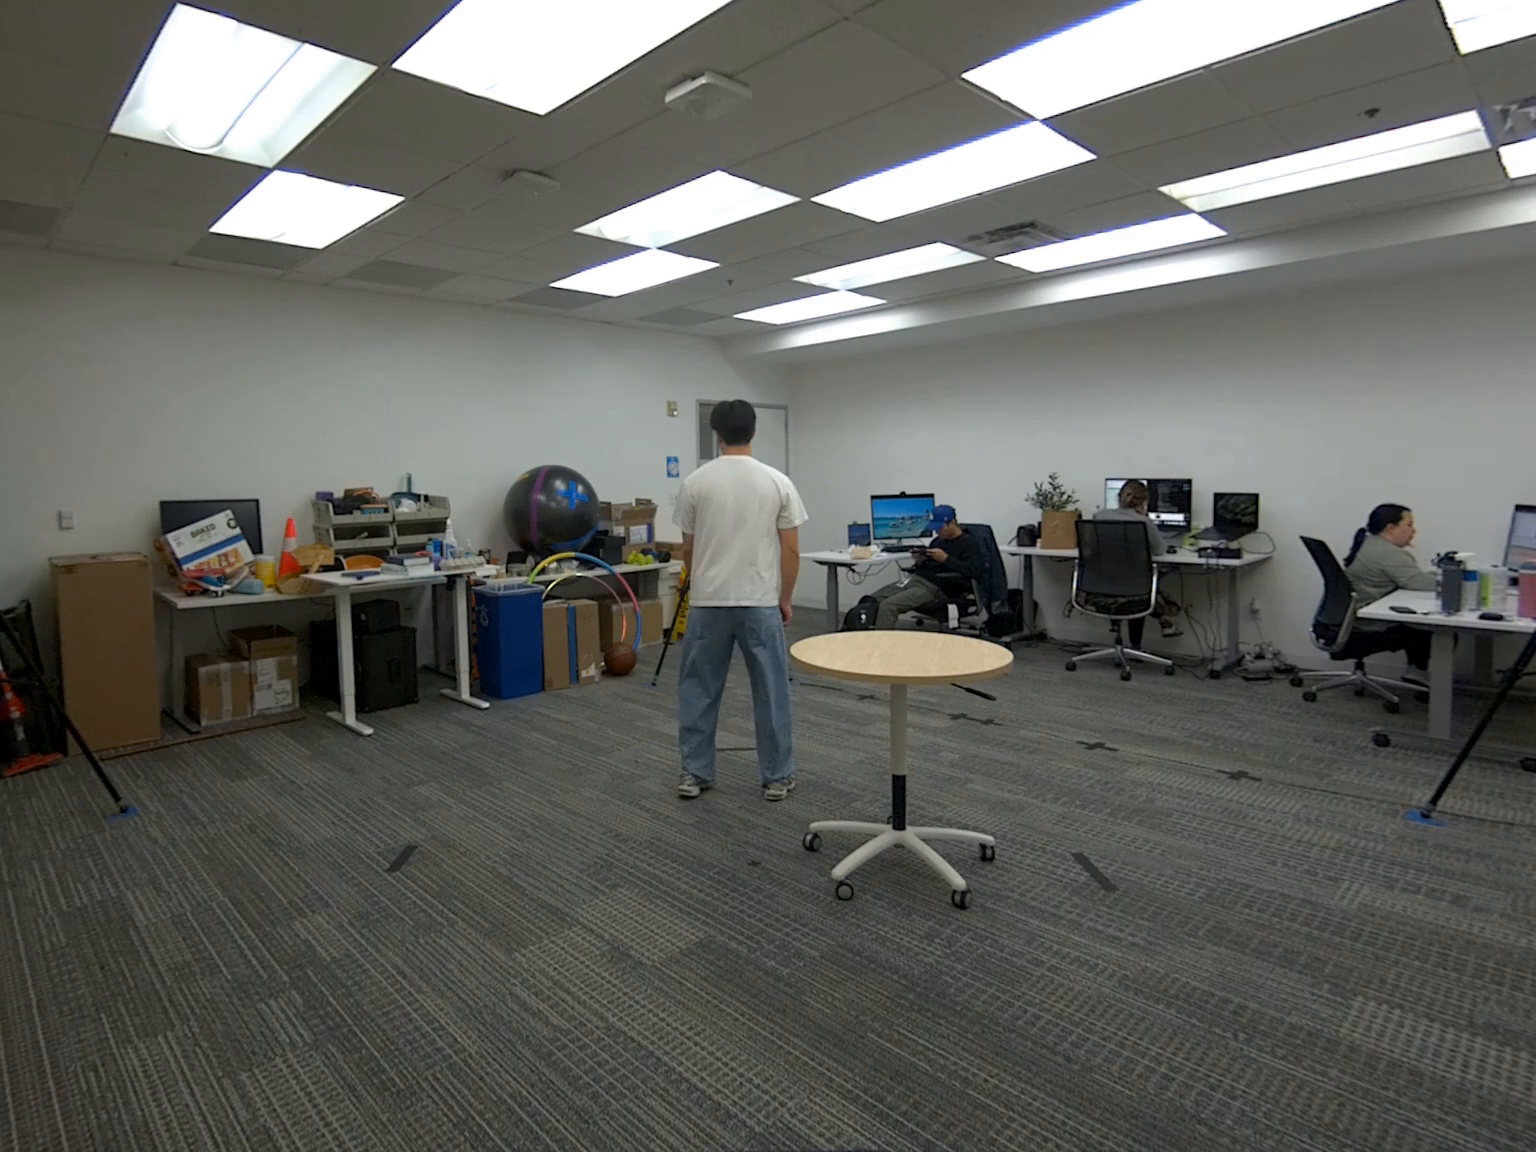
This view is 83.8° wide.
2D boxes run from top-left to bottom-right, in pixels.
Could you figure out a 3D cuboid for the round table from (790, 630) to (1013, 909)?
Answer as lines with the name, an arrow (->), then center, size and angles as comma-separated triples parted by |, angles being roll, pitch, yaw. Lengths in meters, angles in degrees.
round table -> 0.469, 0.653, 3.022 | 0.784, 0.783, 0.789 | -1, 5, -2
